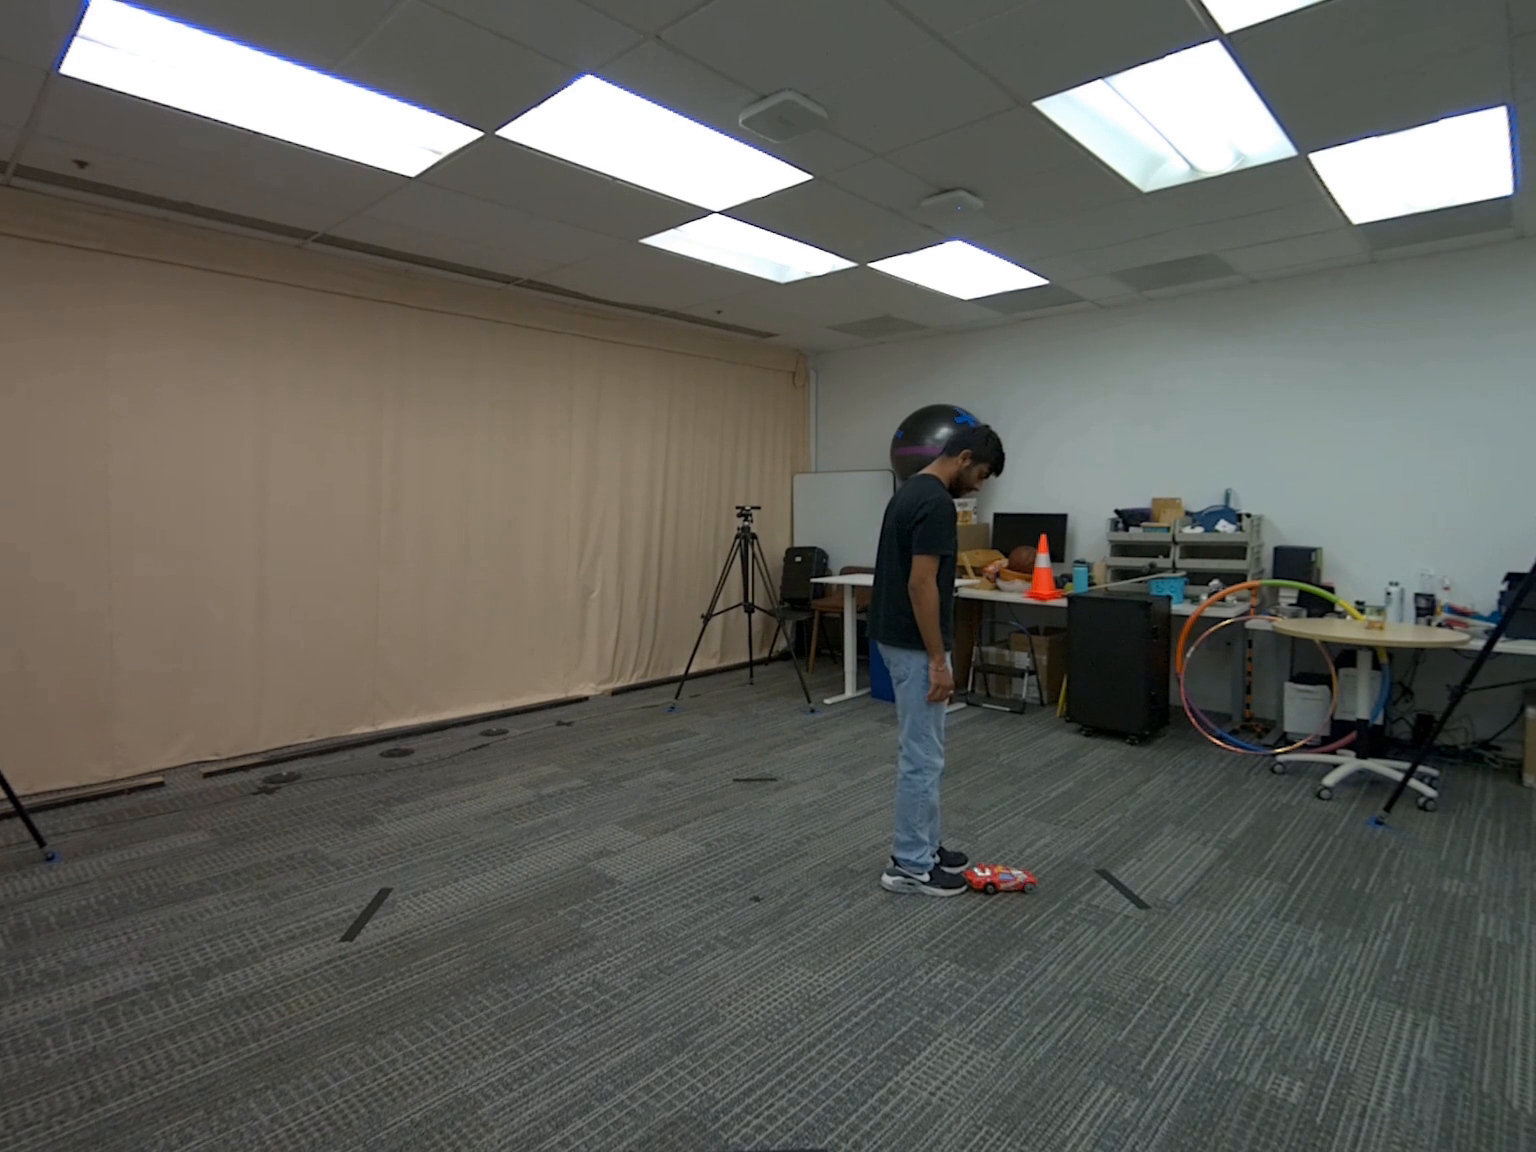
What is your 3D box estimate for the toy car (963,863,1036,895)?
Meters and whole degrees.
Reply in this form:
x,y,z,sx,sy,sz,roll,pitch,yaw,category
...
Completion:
x,y,z,sx,sy,sz,roll,pitch,yaw,category
0.844,1.106,3.051,0.253,0.083,0.131,11,3,-5,toy car
